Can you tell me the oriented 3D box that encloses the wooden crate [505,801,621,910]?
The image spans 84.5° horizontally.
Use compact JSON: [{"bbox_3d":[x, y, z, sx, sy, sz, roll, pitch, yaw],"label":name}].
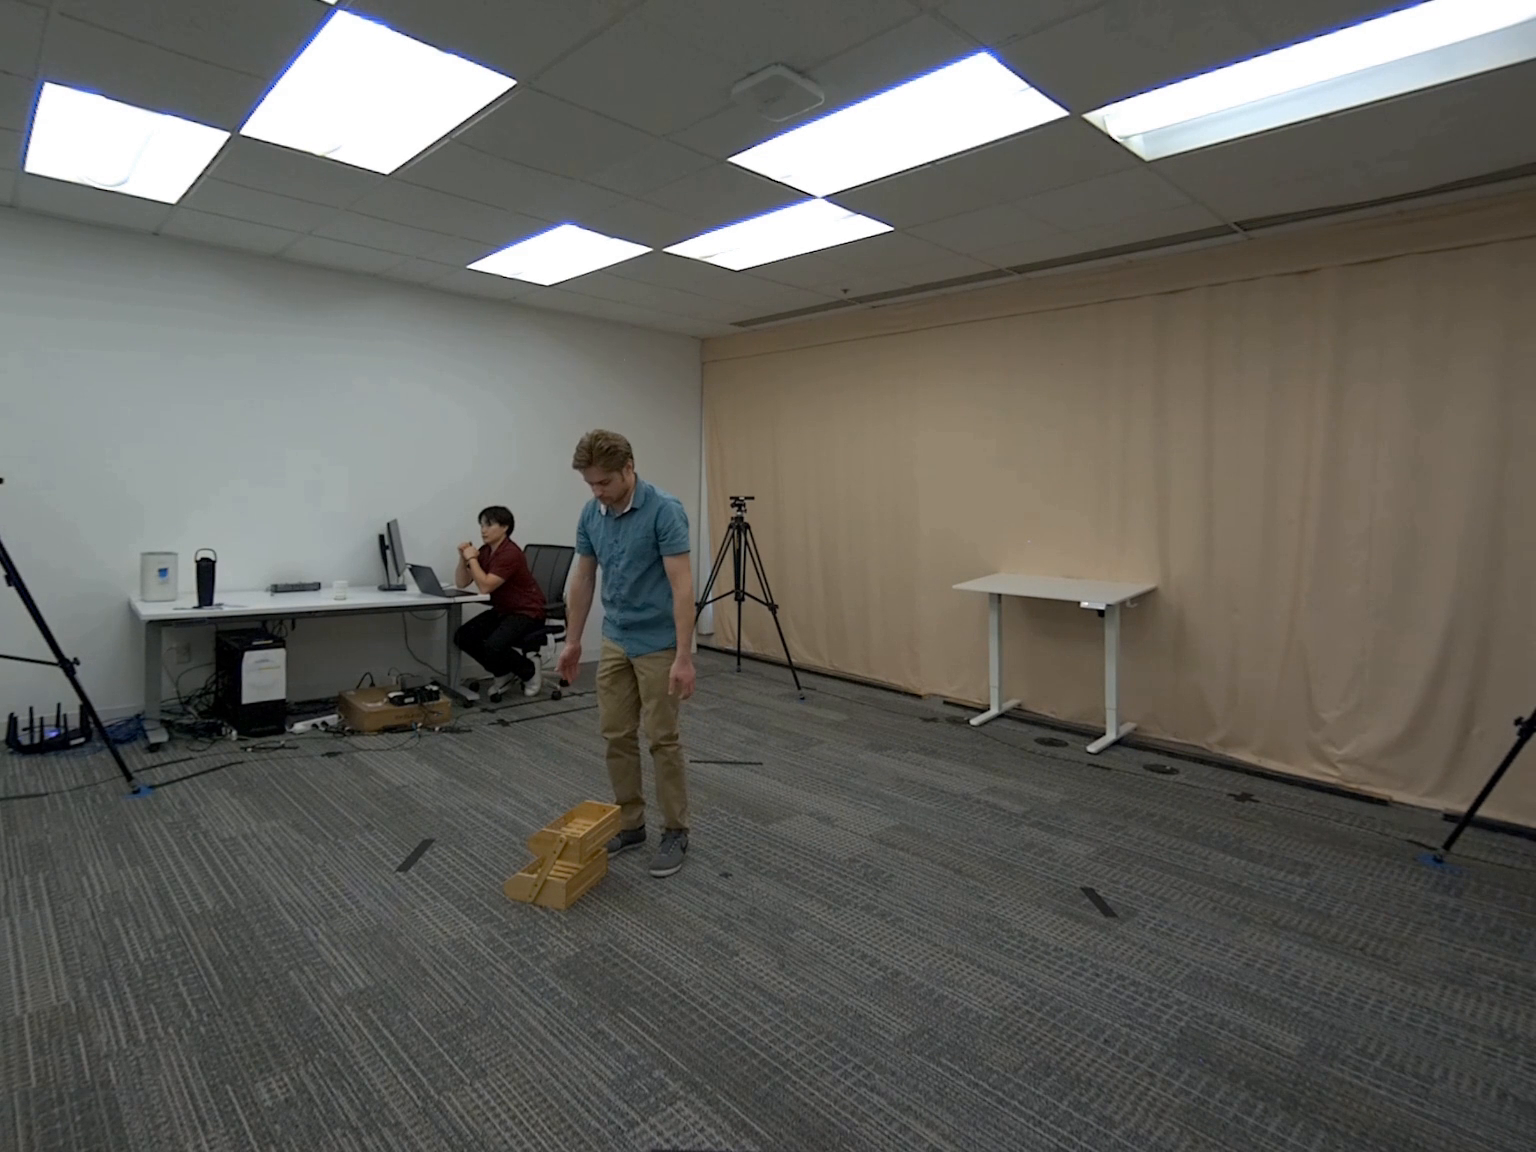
[{"bbox_3d":[-0.741,0.974,2.977,0.306,0.272,0.320,3,5,17],"label":"wooden crate"}]
